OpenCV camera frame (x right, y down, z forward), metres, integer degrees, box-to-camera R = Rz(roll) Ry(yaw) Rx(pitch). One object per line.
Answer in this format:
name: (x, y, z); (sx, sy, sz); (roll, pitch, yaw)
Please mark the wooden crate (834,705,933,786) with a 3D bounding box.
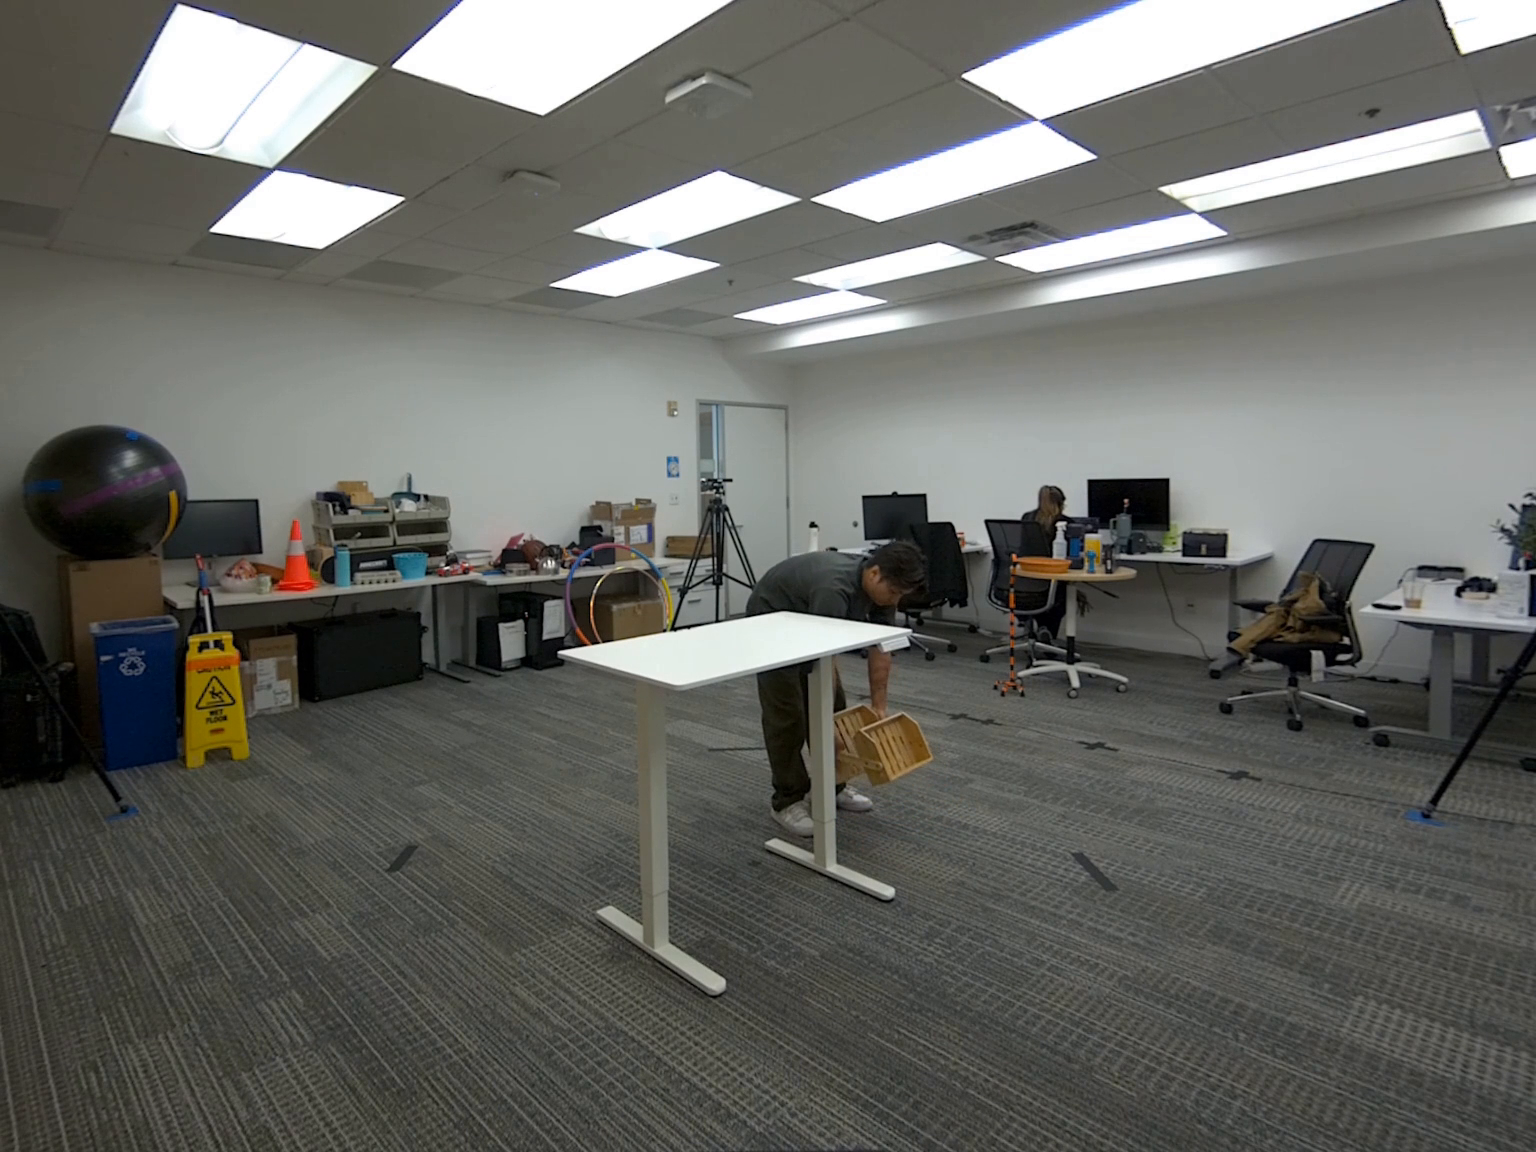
wooden crate: (0.418, 0.648, 3.344); (0.316, 0.307, 0.275); (-8, -20, -46)
